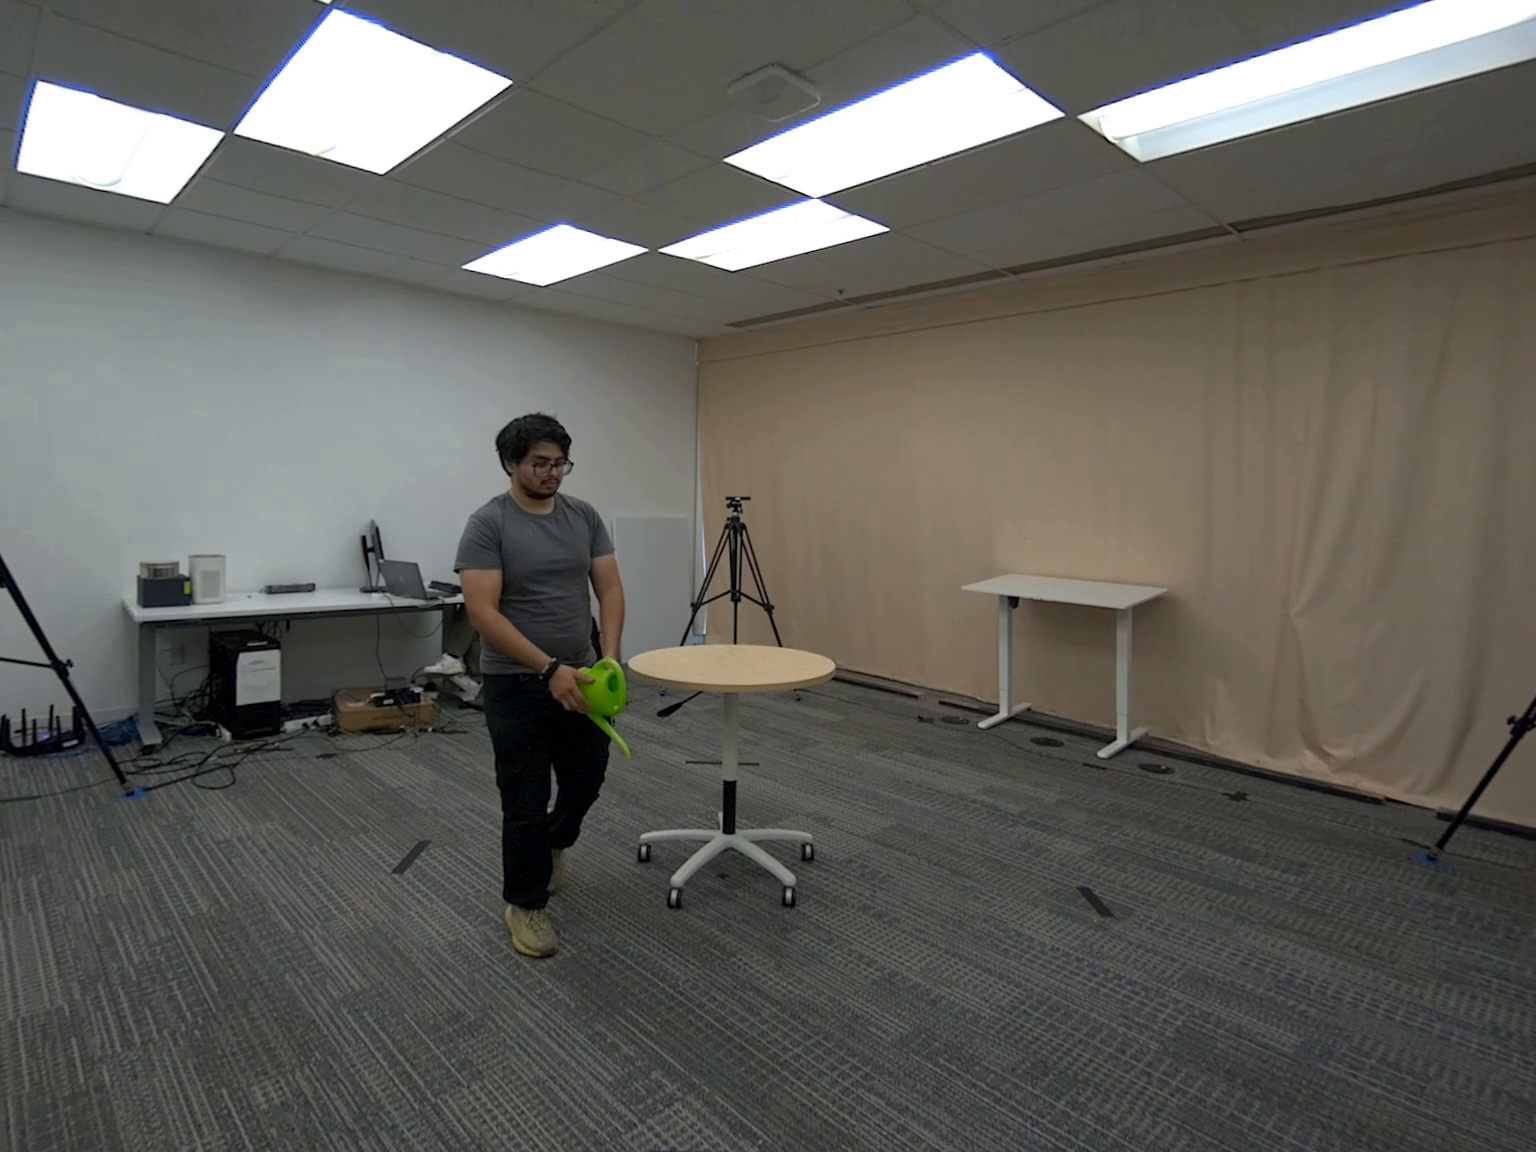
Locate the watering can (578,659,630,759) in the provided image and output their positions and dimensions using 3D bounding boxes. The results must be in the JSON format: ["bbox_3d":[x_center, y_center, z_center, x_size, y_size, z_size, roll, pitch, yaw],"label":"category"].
[{"bbox_3d":[-0.485,0.372,2.382,0.180,0.280,0.095,-6,-13,34],"label":"watering can"}]
